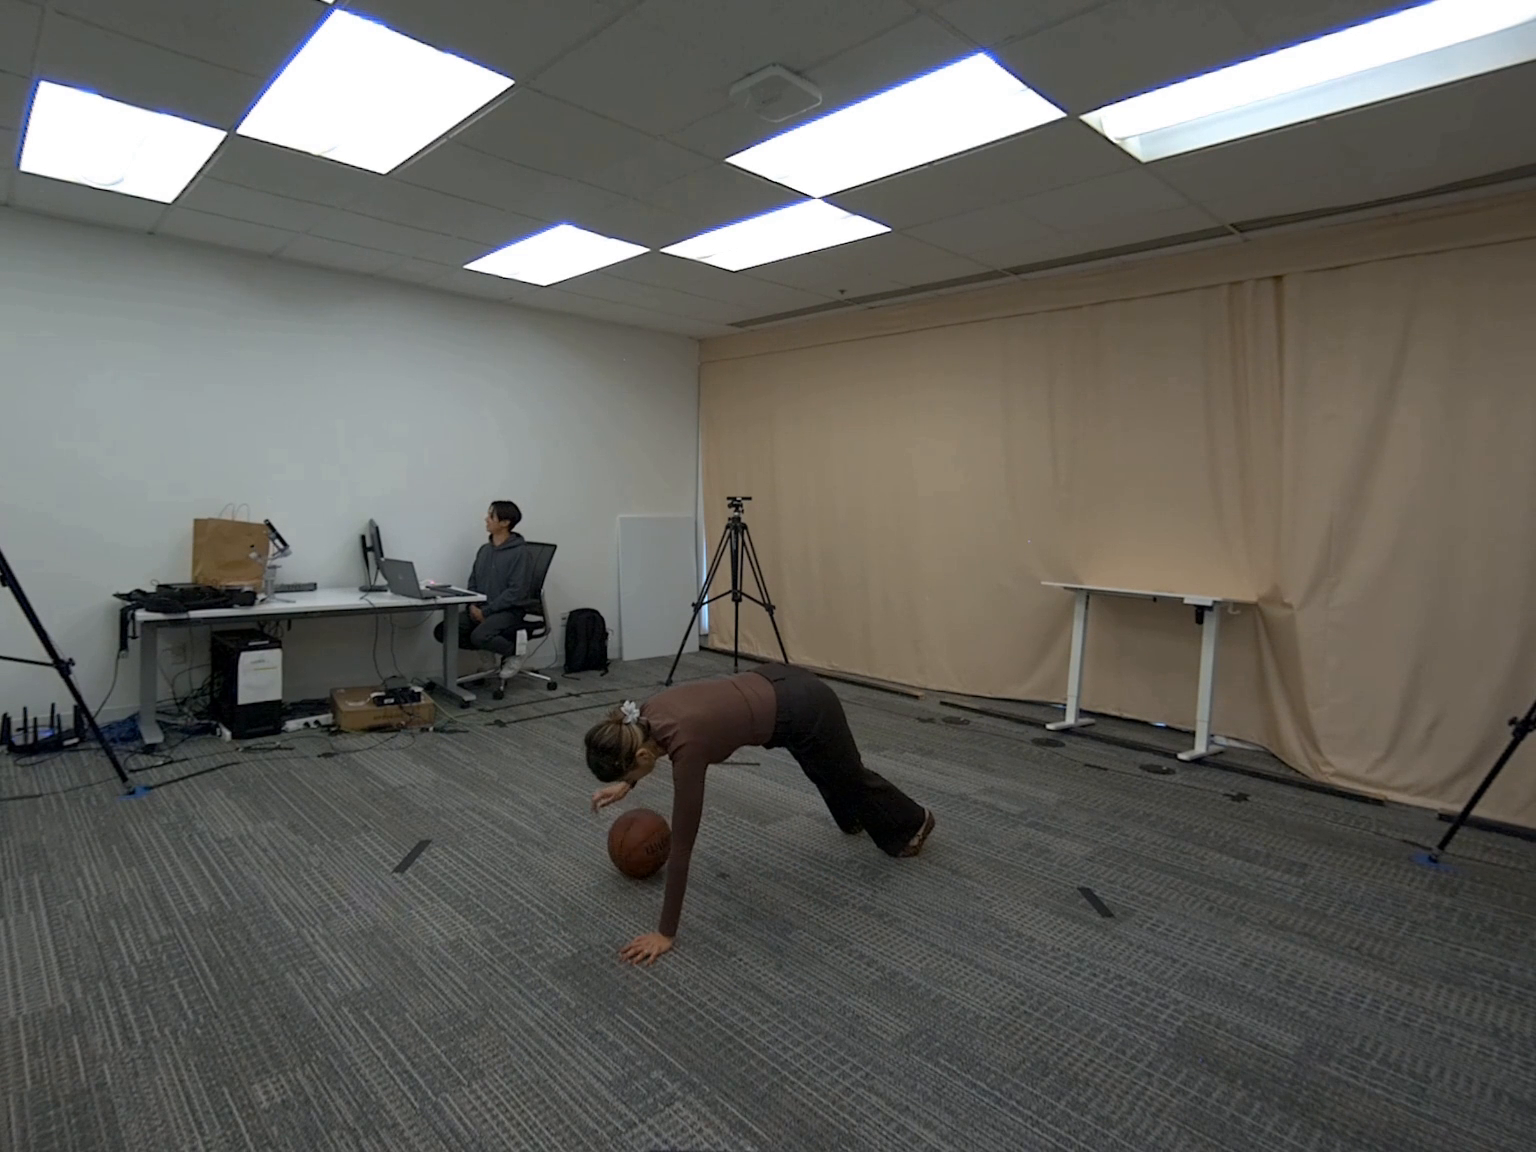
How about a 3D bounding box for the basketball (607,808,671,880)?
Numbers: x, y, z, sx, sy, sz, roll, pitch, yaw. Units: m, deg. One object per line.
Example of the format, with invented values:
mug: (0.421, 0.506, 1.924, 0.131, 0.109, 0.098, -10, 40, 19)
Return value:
basketball: (-0.475, 0.975, 3.095, 0.236, 0.235, 0.237, 1, 4, -1)
